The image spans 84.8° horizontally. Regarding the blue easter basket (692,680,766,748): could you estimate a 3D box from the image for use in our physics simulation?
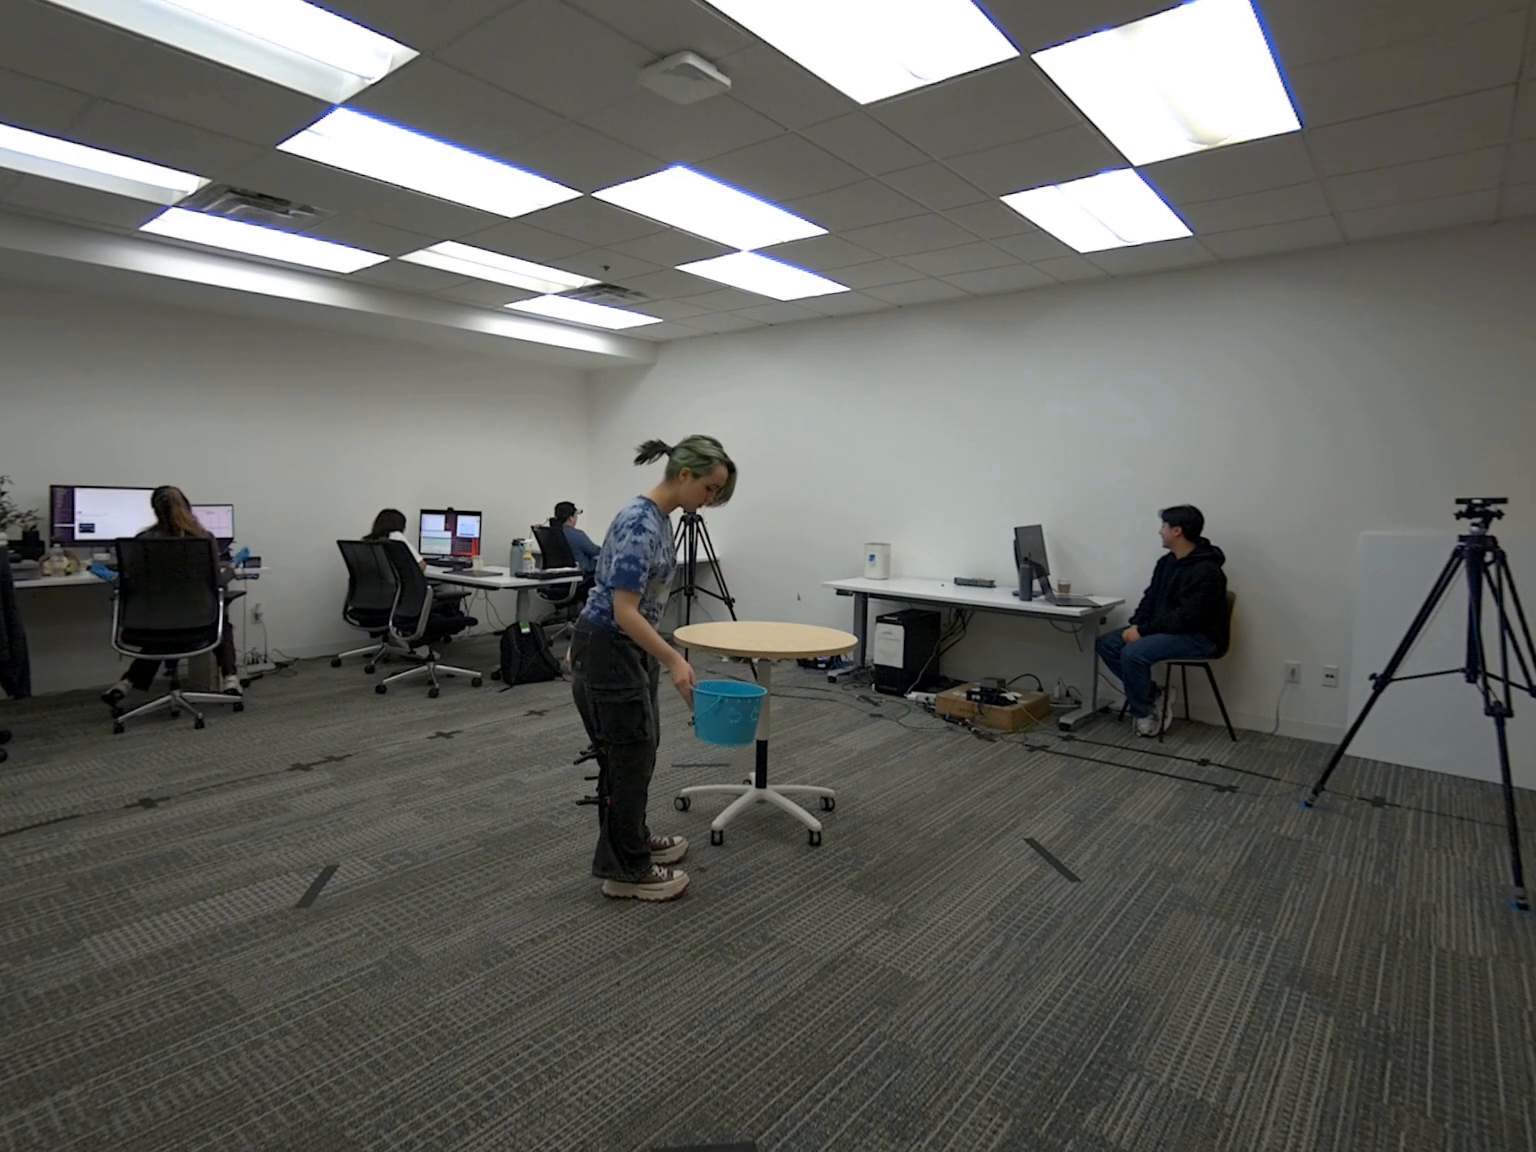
[{"bbox_3d":[-0.138,0.416,2.573,0.243,0.155,0.245,4,4,-2],"label":"blue easter basket"}]
